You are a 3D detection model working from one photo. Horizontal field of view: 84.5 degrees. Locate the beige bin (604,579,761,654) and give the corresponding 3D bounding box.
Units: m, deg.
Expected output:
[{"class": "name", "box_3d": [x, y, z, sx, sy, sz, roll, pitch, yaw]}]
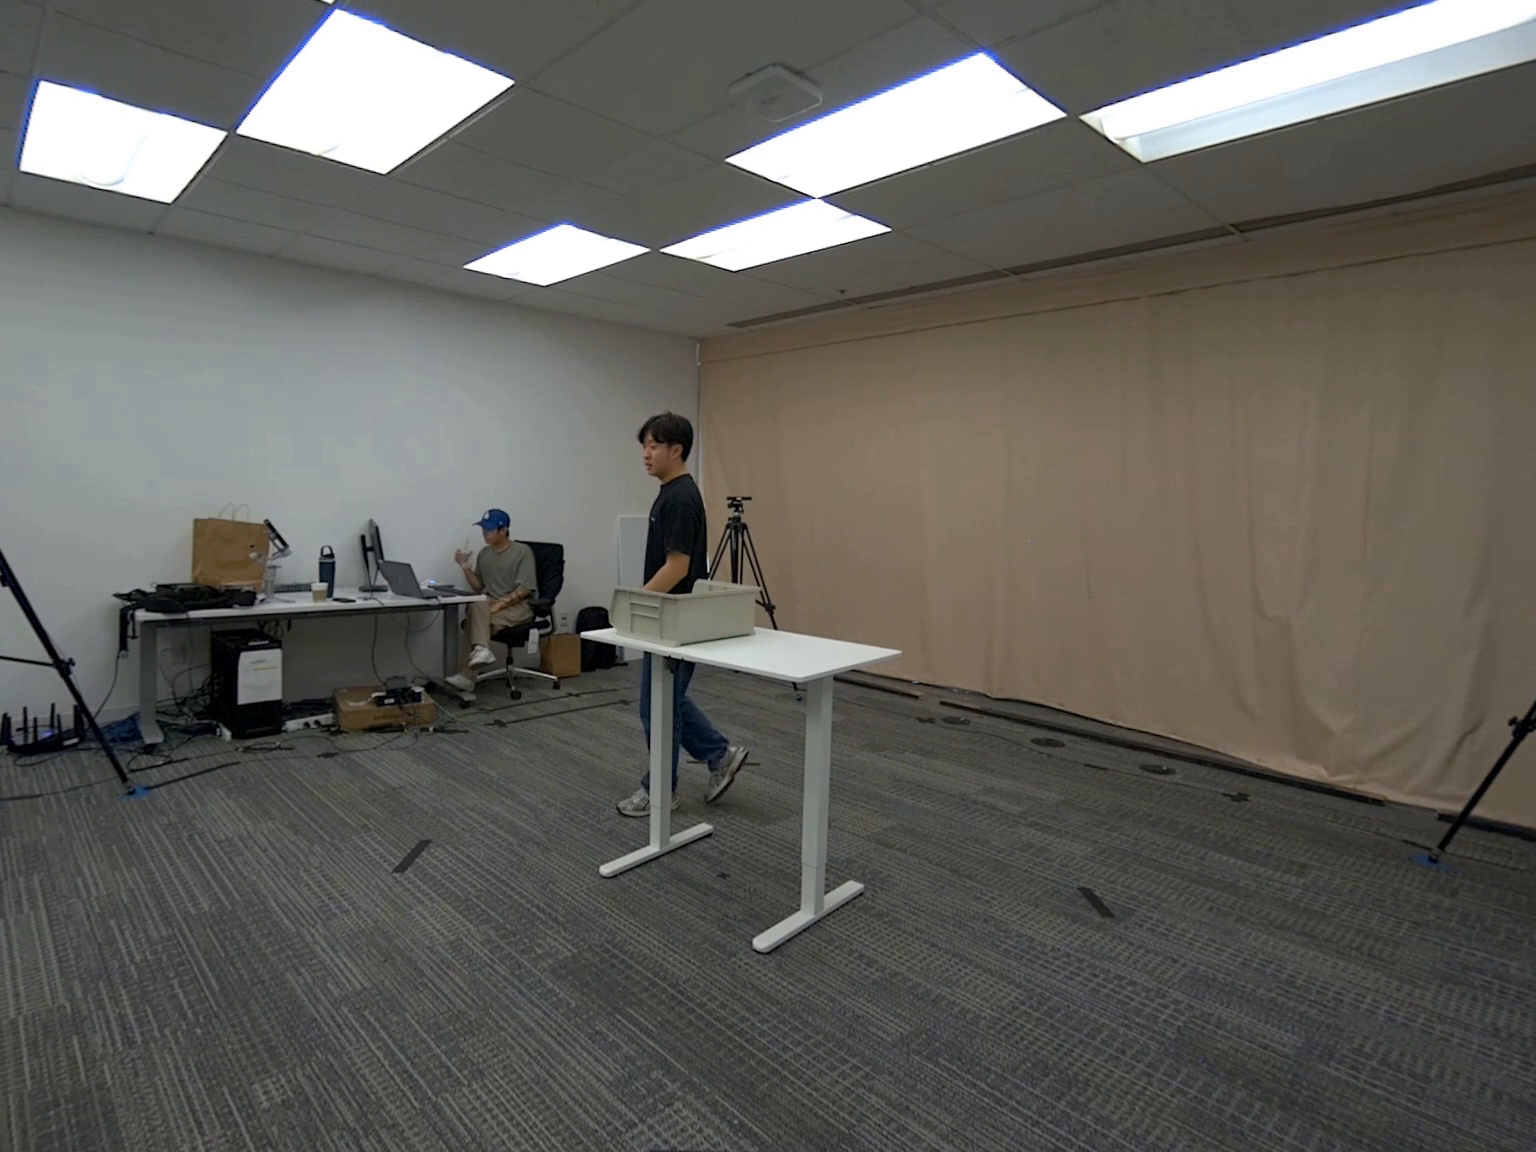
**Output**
[{"class": "beige bin", "box_3d": [-0.314, 0.133, 3.110, 0.387, 0.188, 0.413, 8, 8, 43]}]
